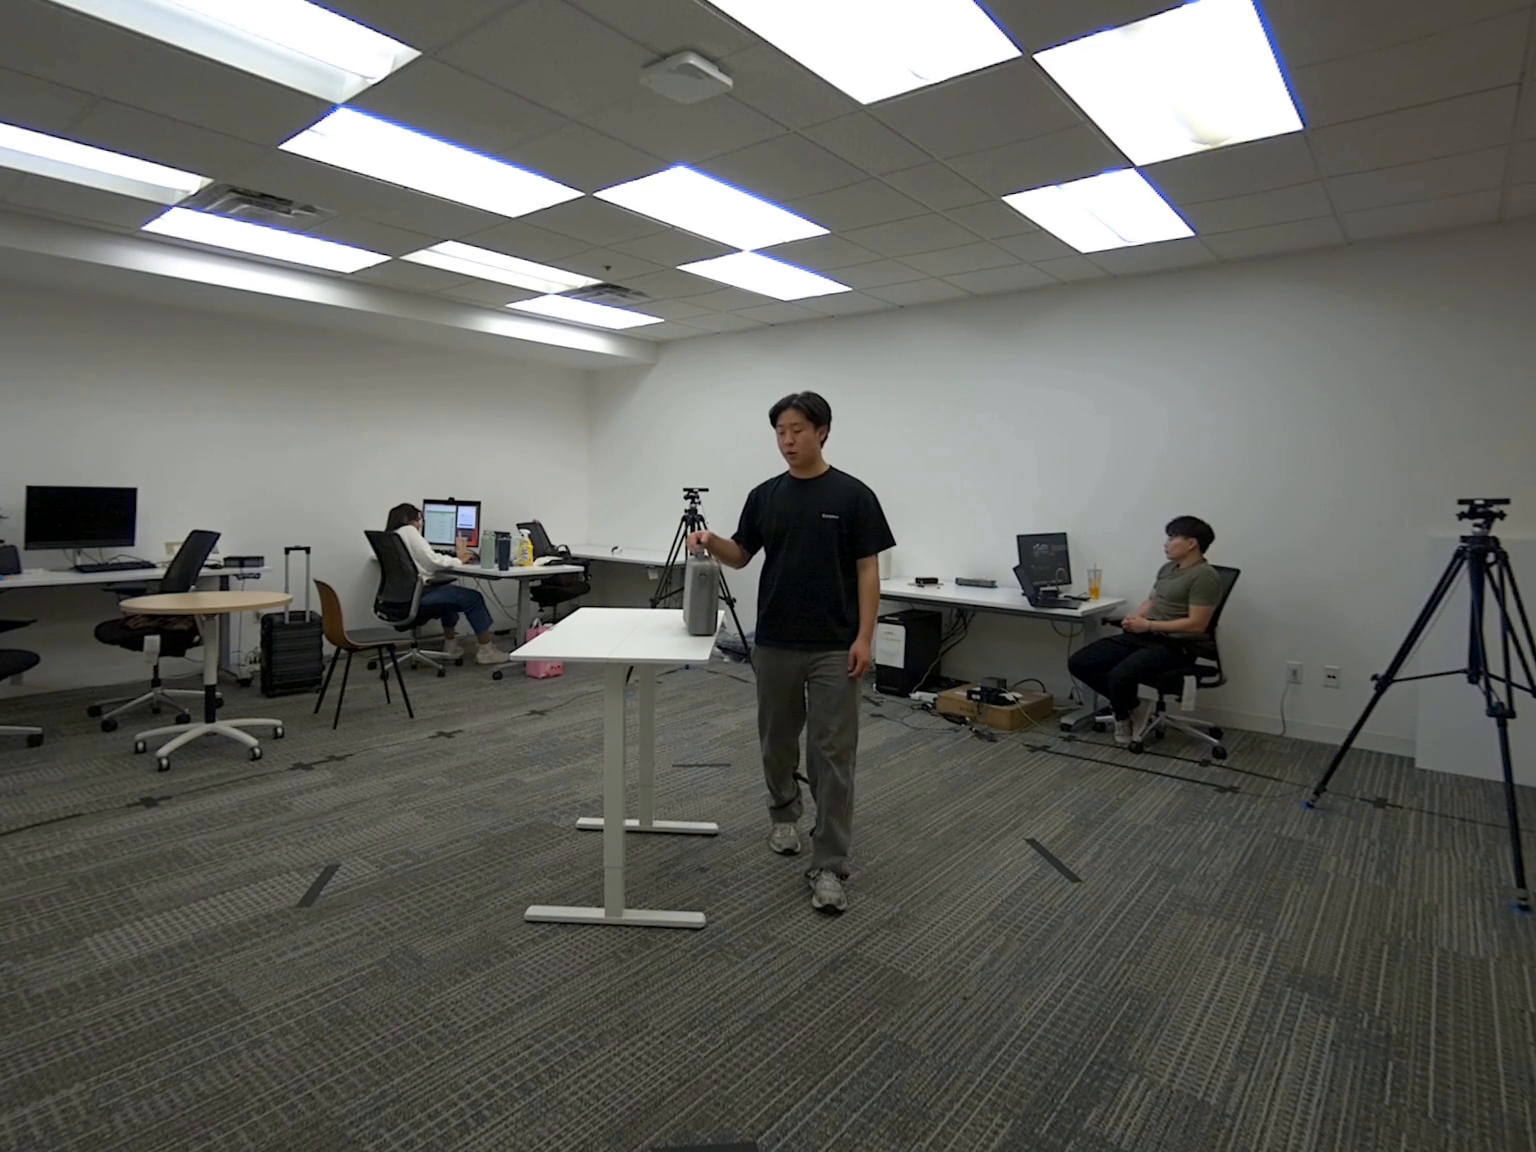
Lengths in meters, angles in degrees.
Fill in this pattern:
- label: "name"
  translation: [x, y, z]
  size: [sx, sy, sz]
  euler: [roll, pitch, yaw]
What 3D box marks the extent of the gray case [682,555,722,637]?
- label: "gray case"
  translation: [-0.241, 0.047, 3.013]
  size: [0.102, 0.286, 0.266]
  euler: [1, 6, -7]
